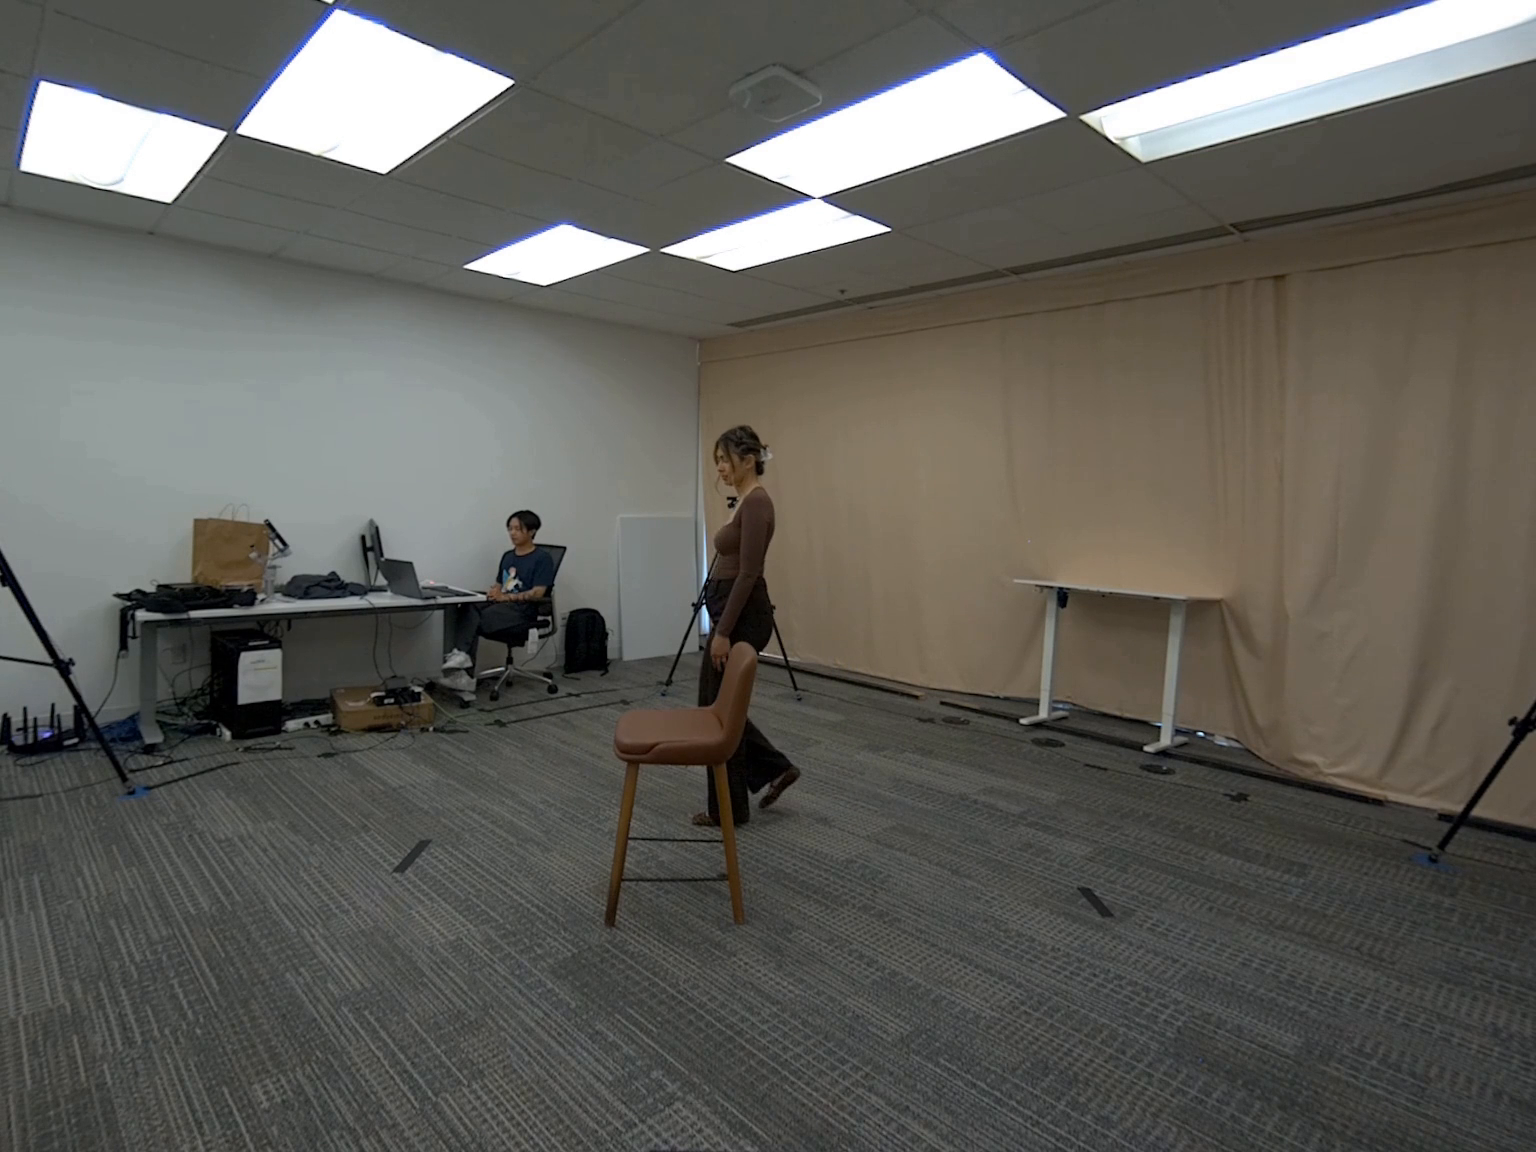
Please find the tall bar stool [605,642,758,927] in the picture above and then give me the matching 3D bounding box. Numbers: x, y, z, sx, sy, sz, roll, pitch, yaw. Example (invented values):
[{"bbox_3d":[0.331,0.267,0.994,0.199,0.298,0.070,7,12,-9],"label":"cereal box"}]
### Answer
[{"bbox_3d":[-0.313,0.689,2.900,0.466,0.888,0.459,2,3,-5],"label":"tall bar stool"}]
